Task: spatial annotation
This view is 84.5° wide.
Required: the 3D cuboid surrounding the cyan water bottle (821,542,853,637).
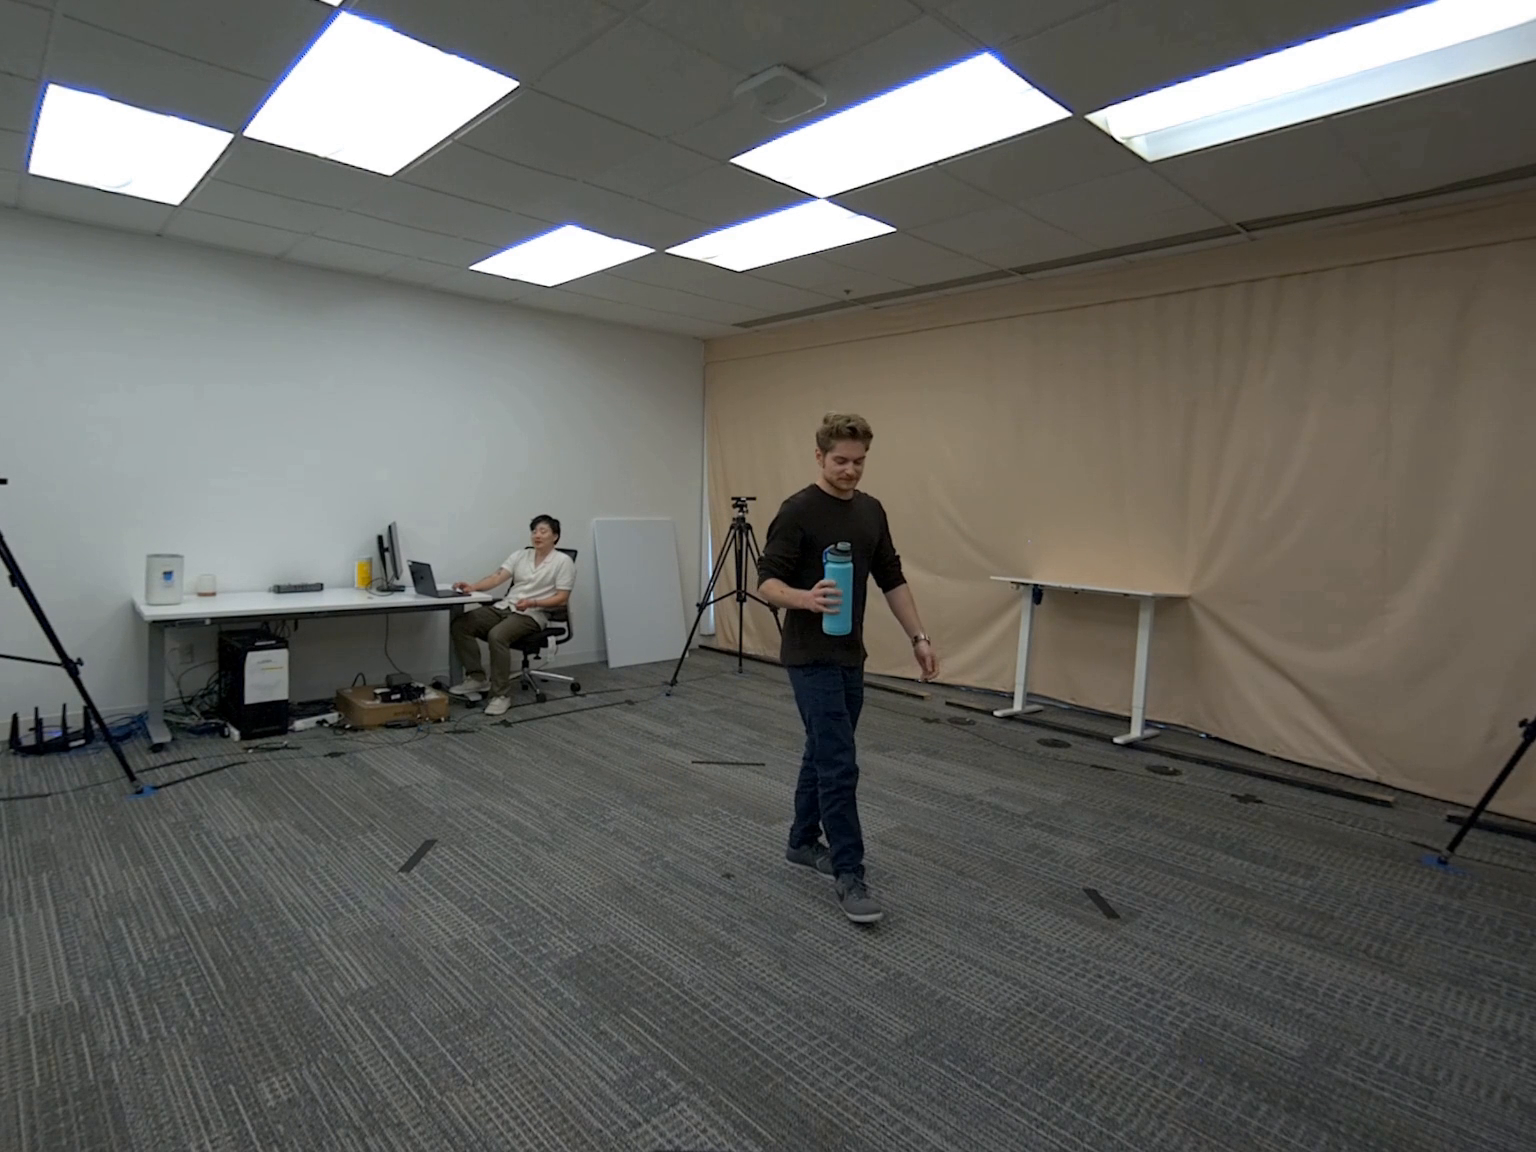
[{"bbox_3d":[0.210,0.038,2.625,0.092,0.280,0.093,-1,13,-1],"label":"cyan water bottle"}]
